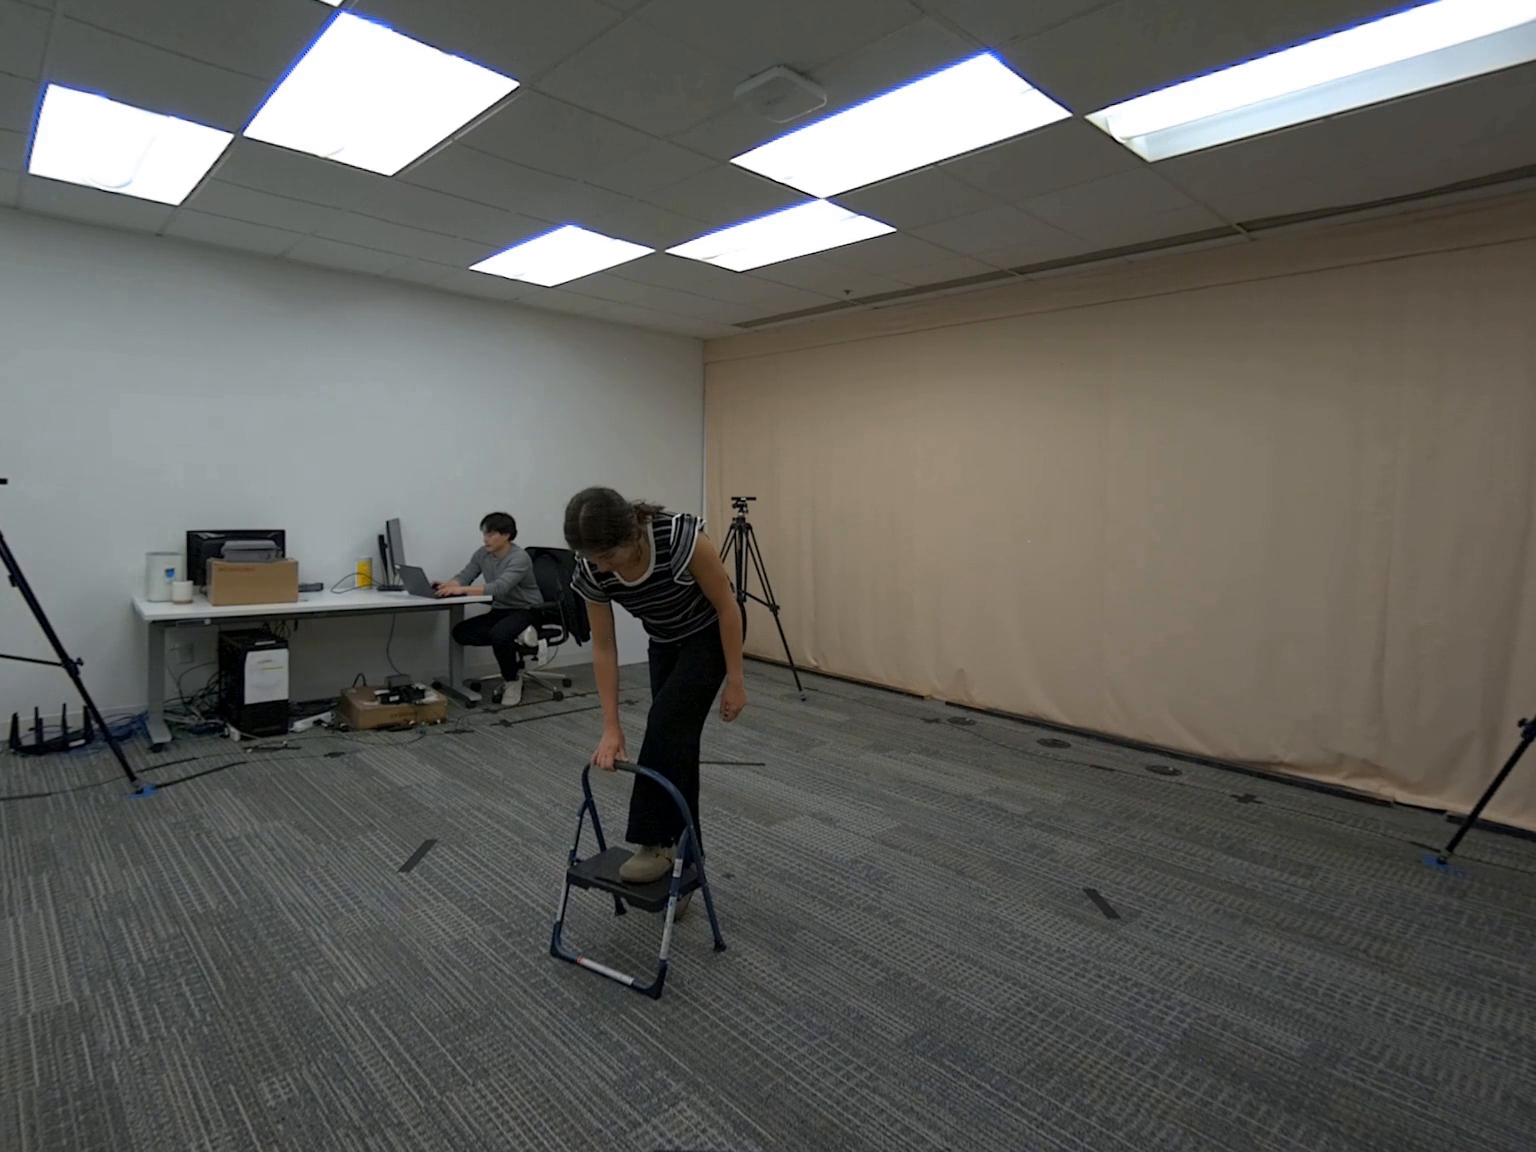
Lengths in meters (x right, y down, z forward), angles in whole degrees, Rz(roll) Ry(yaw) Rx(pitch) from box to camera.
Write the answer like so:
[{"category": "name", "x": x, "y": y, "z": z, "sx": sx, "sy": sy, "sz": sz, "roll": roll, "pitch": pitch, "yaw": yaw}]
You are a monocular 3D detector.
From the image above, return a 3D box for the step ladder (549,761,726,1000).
[{"category": "step ladder", "x": -0.400, "y": 0.851, "z": 2.560, "sx": 0.440, "sy": 0.605, "sz": 0.342, "roll": 3, "pitch": 3, "yaw": 31}]
